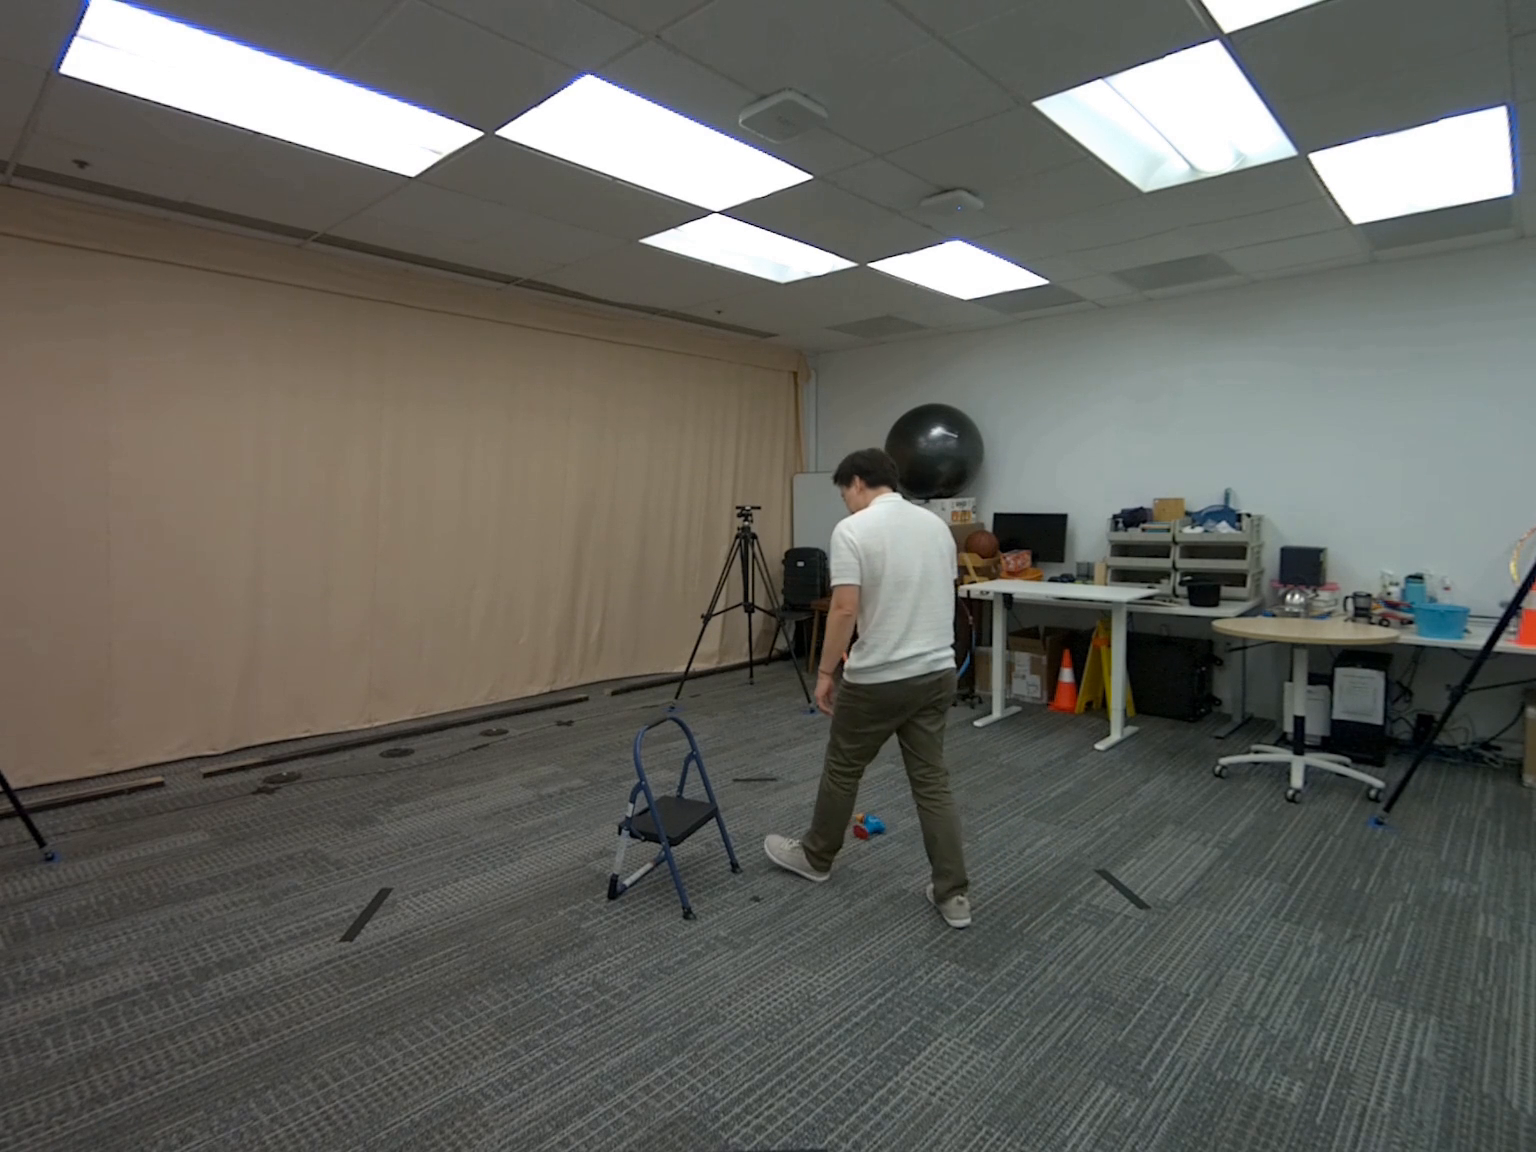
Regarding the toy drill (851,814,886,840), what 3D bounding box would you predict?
[{"bbox_3d":[0.419,1.065,3.605,0.141,0.061,0.176,-5,13,-43],"label":"toy drill"}]
